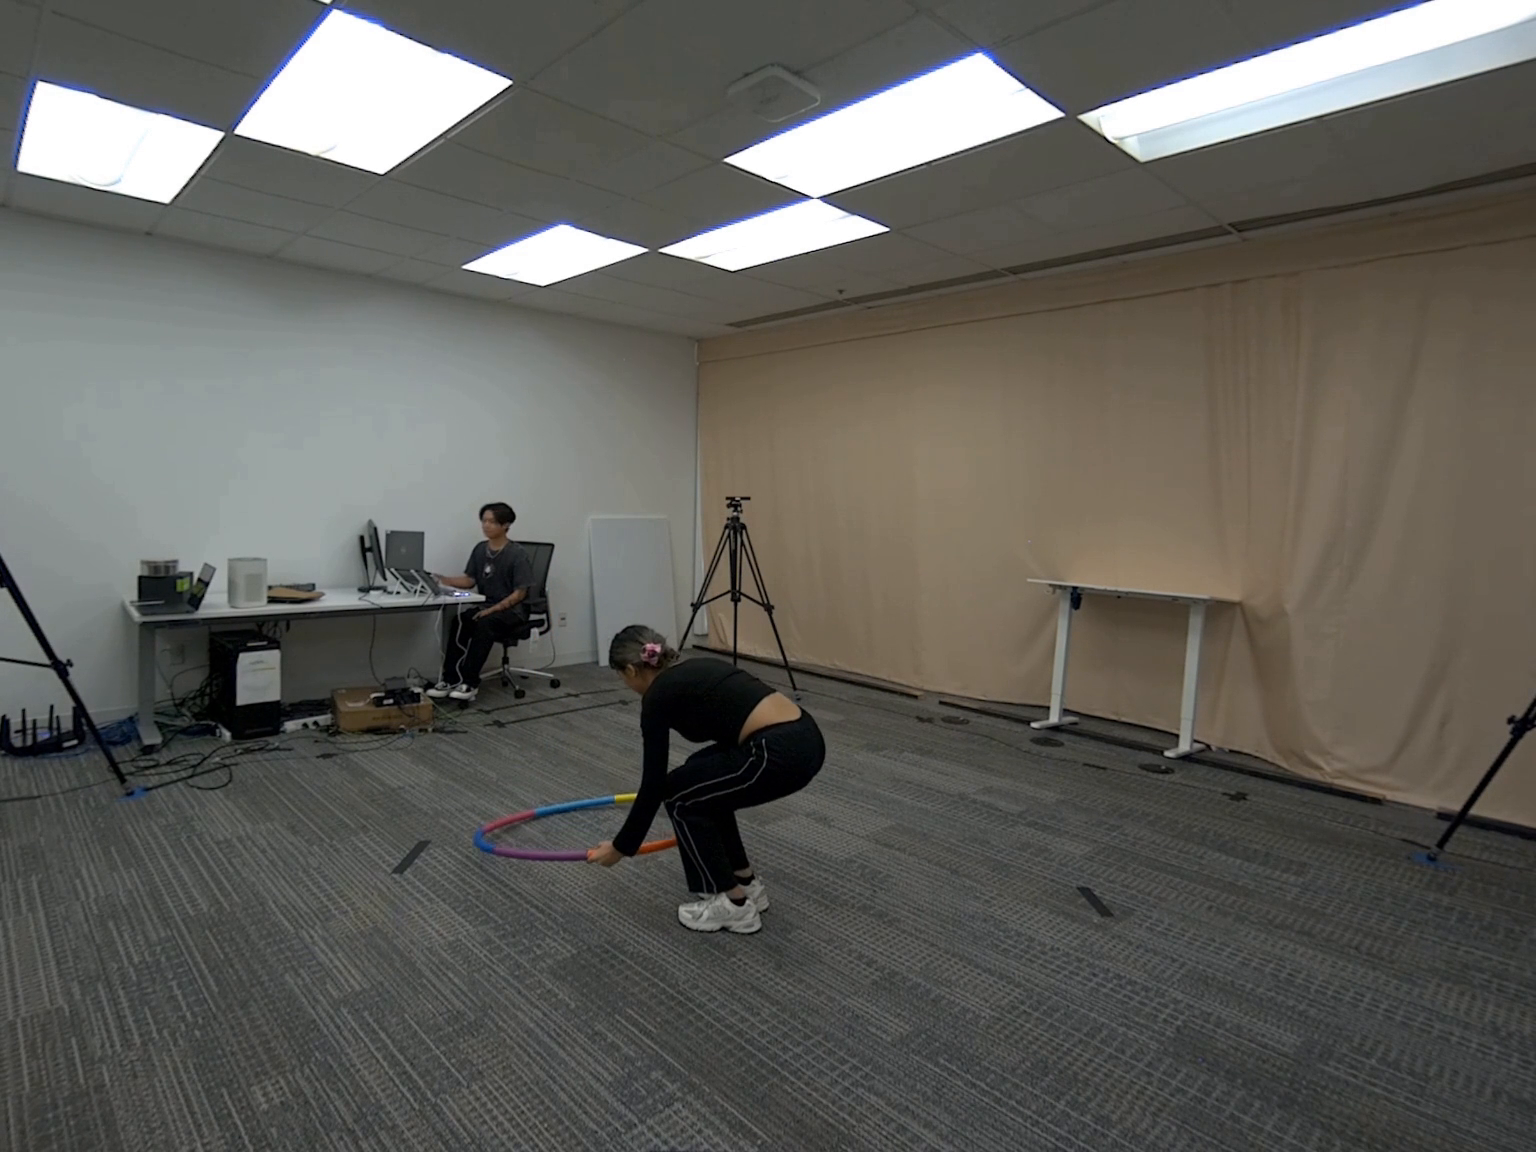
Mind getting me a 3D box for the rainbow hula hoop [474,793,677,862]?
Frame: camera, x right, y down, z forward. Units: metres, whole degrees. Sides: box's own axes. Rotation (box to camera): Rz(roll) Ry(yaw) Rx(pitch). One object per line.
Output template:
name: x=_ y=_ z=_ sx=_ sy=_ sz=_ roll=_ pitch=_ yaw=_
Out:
rainbow hula hoop: x=-0.651 y=0.955 z=3.280 sx=0.978 sy=0.036 sz=0.976 roll=-4 pitch=-3 yaw=-2
